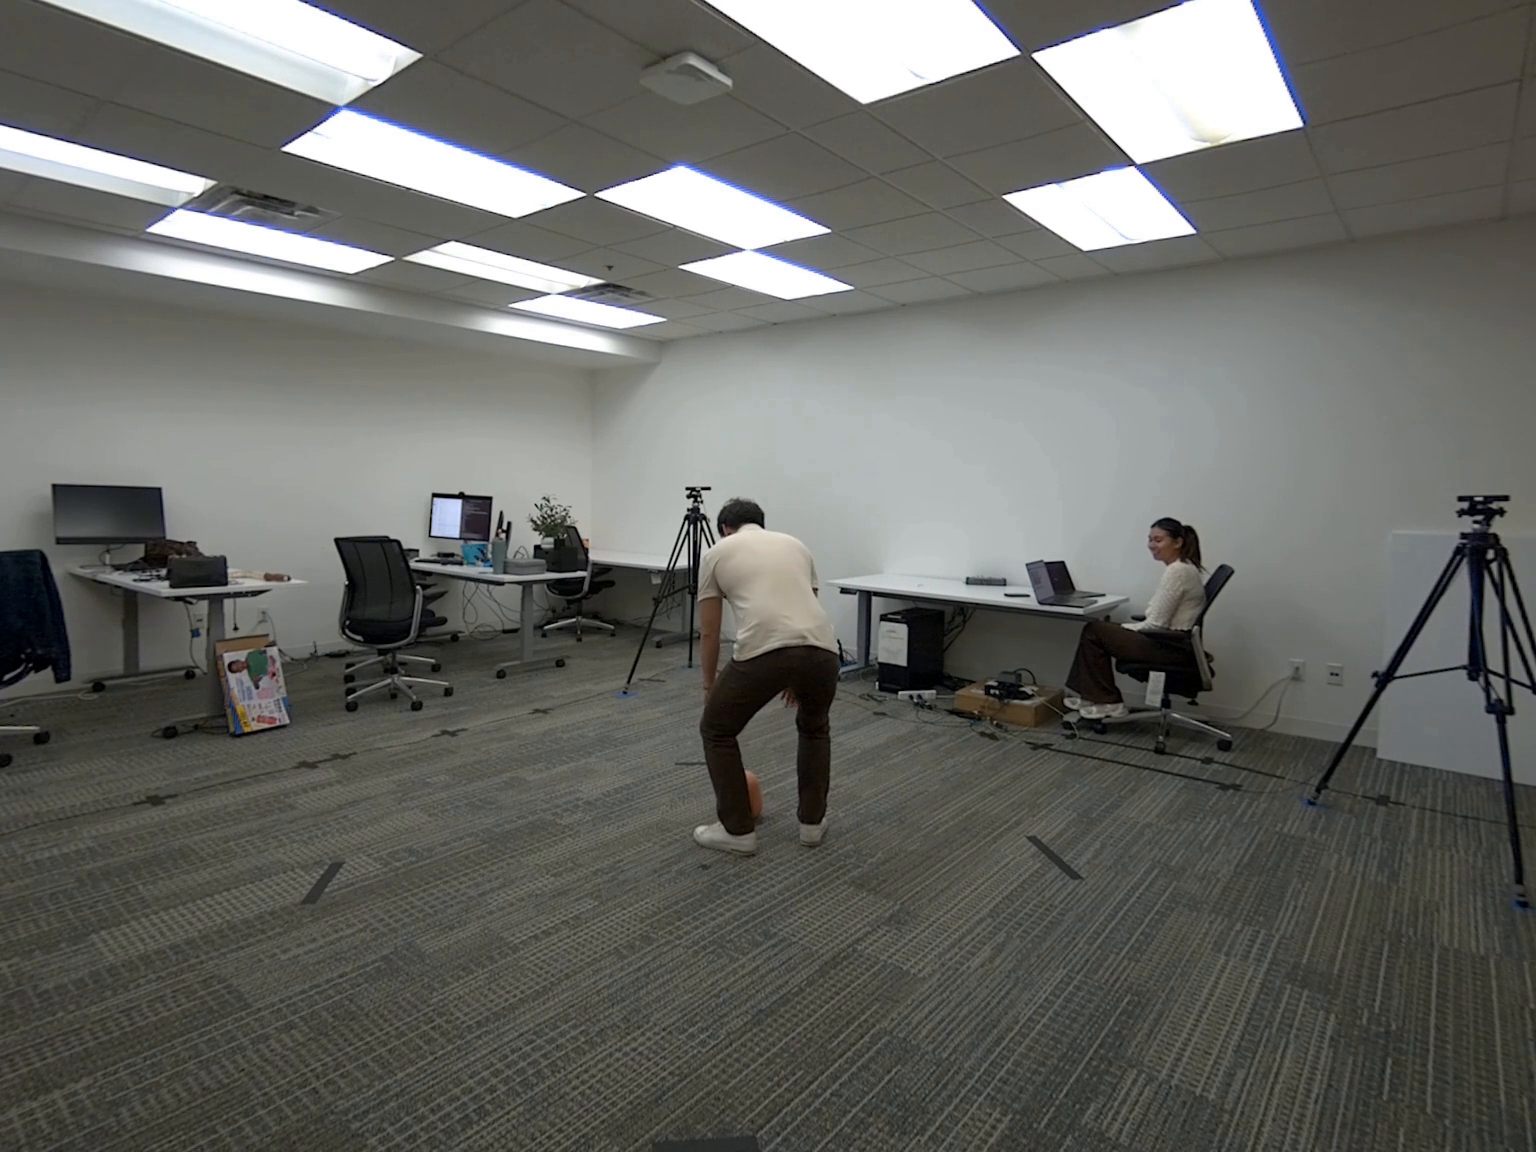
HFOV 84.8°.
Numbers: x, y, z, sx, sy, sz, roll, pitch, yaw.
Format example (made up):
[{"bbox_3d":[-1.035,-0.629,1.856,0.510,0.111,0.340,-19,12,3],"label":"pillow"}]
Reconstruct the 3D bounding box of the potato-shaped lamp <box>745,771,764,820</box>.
[{"bbox_3d":[-0.110,0.916,3.597,0.167,0.197,0.169,1,4,13],"label":"potato-shaped lamp"}]
